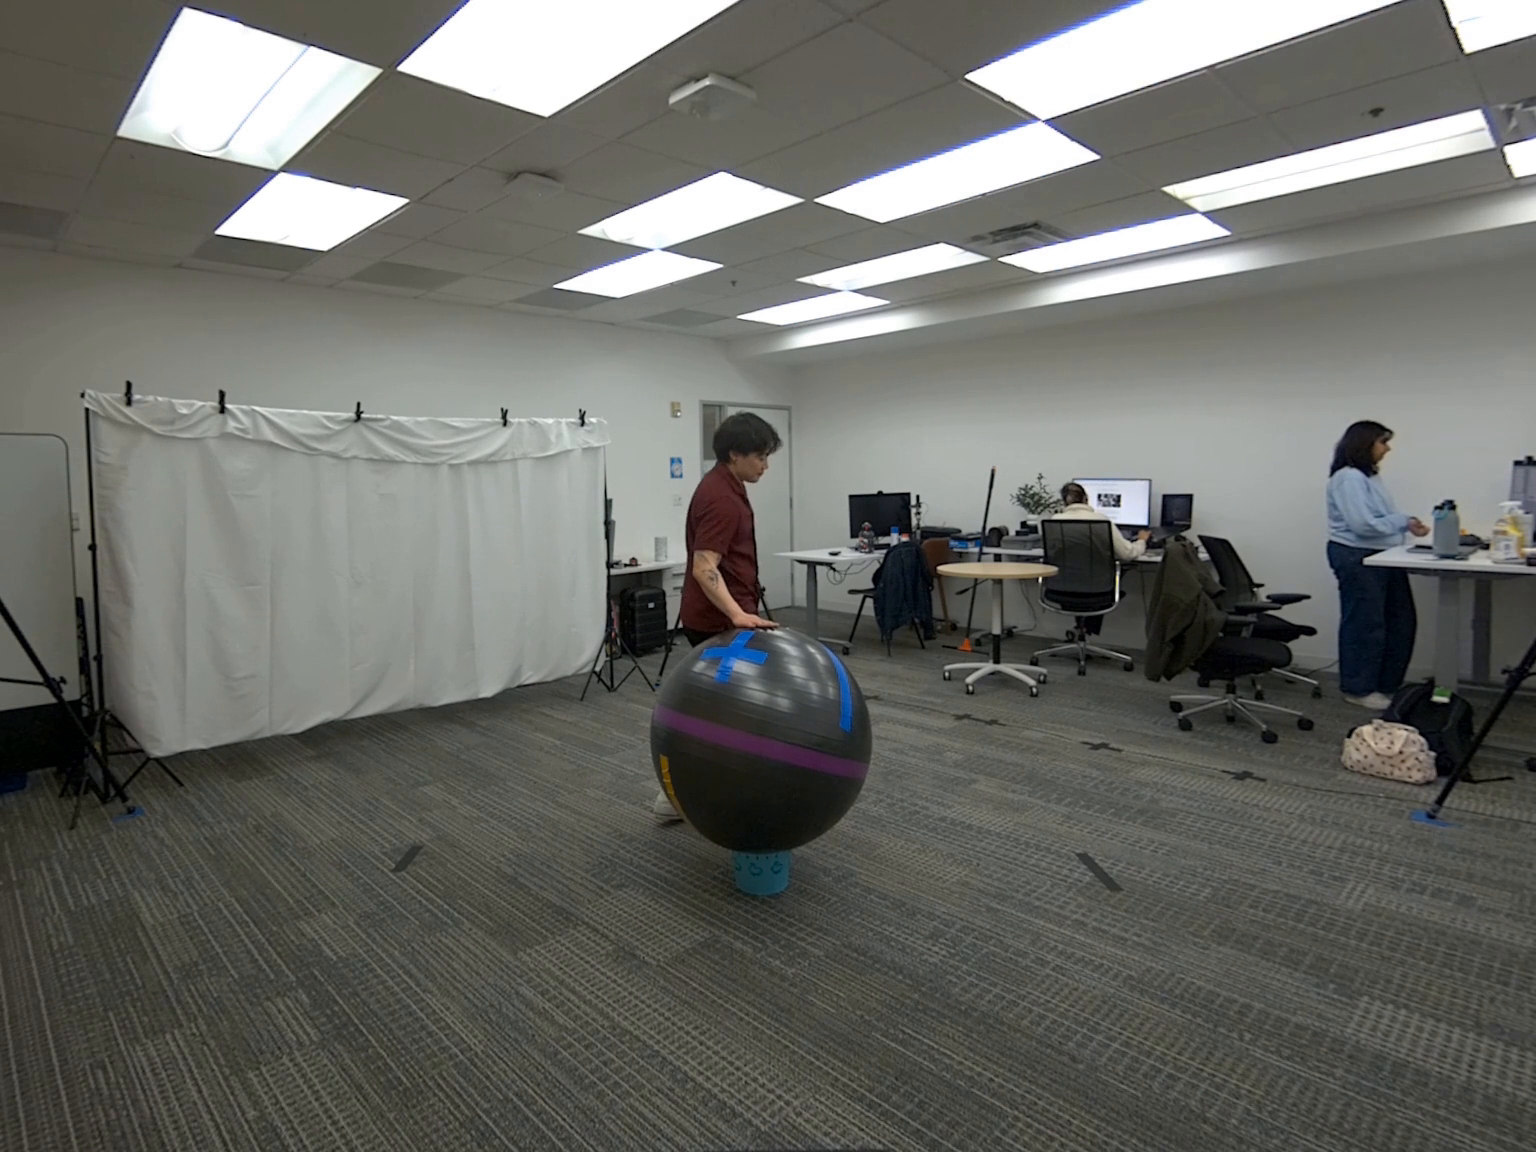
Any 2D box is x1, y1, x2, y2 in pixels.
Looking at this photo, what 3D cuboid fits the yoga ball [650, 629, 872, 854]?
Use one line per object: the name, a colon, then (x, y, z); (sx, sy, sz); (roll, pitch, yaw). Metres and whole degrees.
yoga ball: (-0.026, 0.556, 2.947); (0.757, 0.755, 0.762); (-1, 5, -2)
